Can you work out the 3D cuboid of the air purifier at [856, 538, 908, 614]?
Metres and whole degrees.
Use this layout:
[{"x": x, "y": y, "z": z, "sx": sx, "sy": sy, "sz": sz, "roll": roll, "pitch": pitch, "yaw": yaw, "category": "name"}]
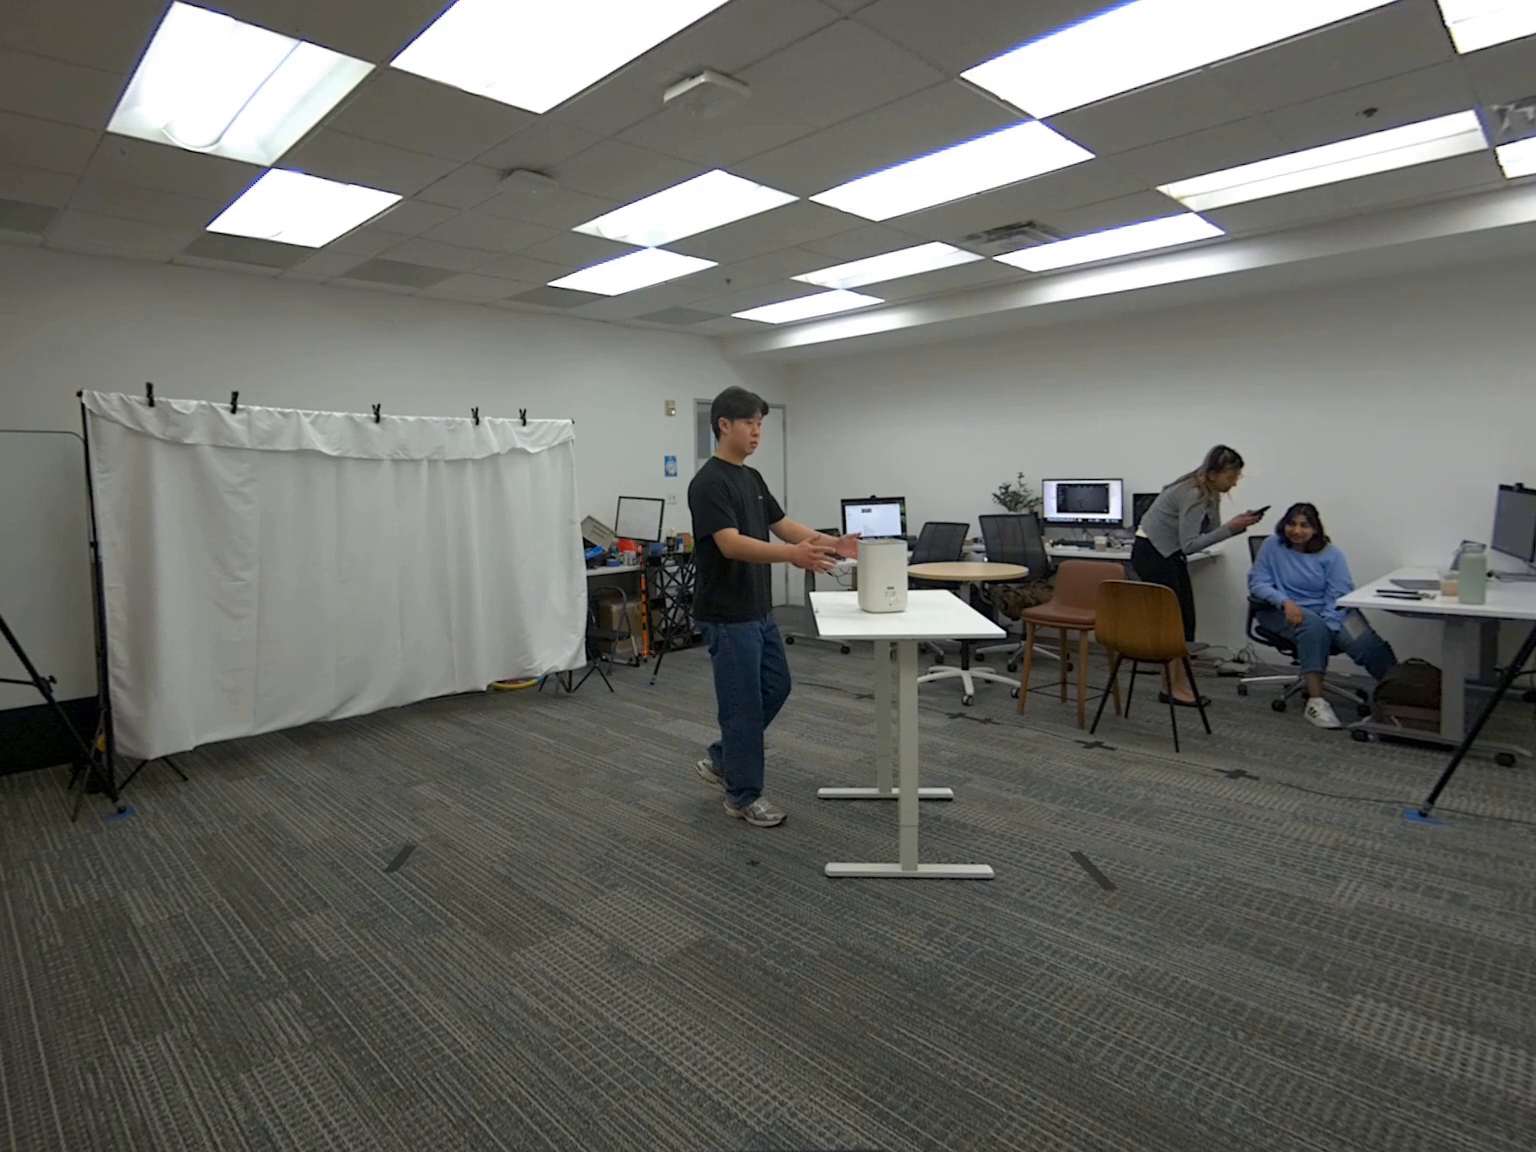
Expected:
[{"x": 0.451, "y": 0.006, "z": 3.259, "sx": 0.170, "sy": 0.264, "sz": 0.174, "roll": -1, "pitch": 7, "yaw": -6, "category": "air purifier"}]
